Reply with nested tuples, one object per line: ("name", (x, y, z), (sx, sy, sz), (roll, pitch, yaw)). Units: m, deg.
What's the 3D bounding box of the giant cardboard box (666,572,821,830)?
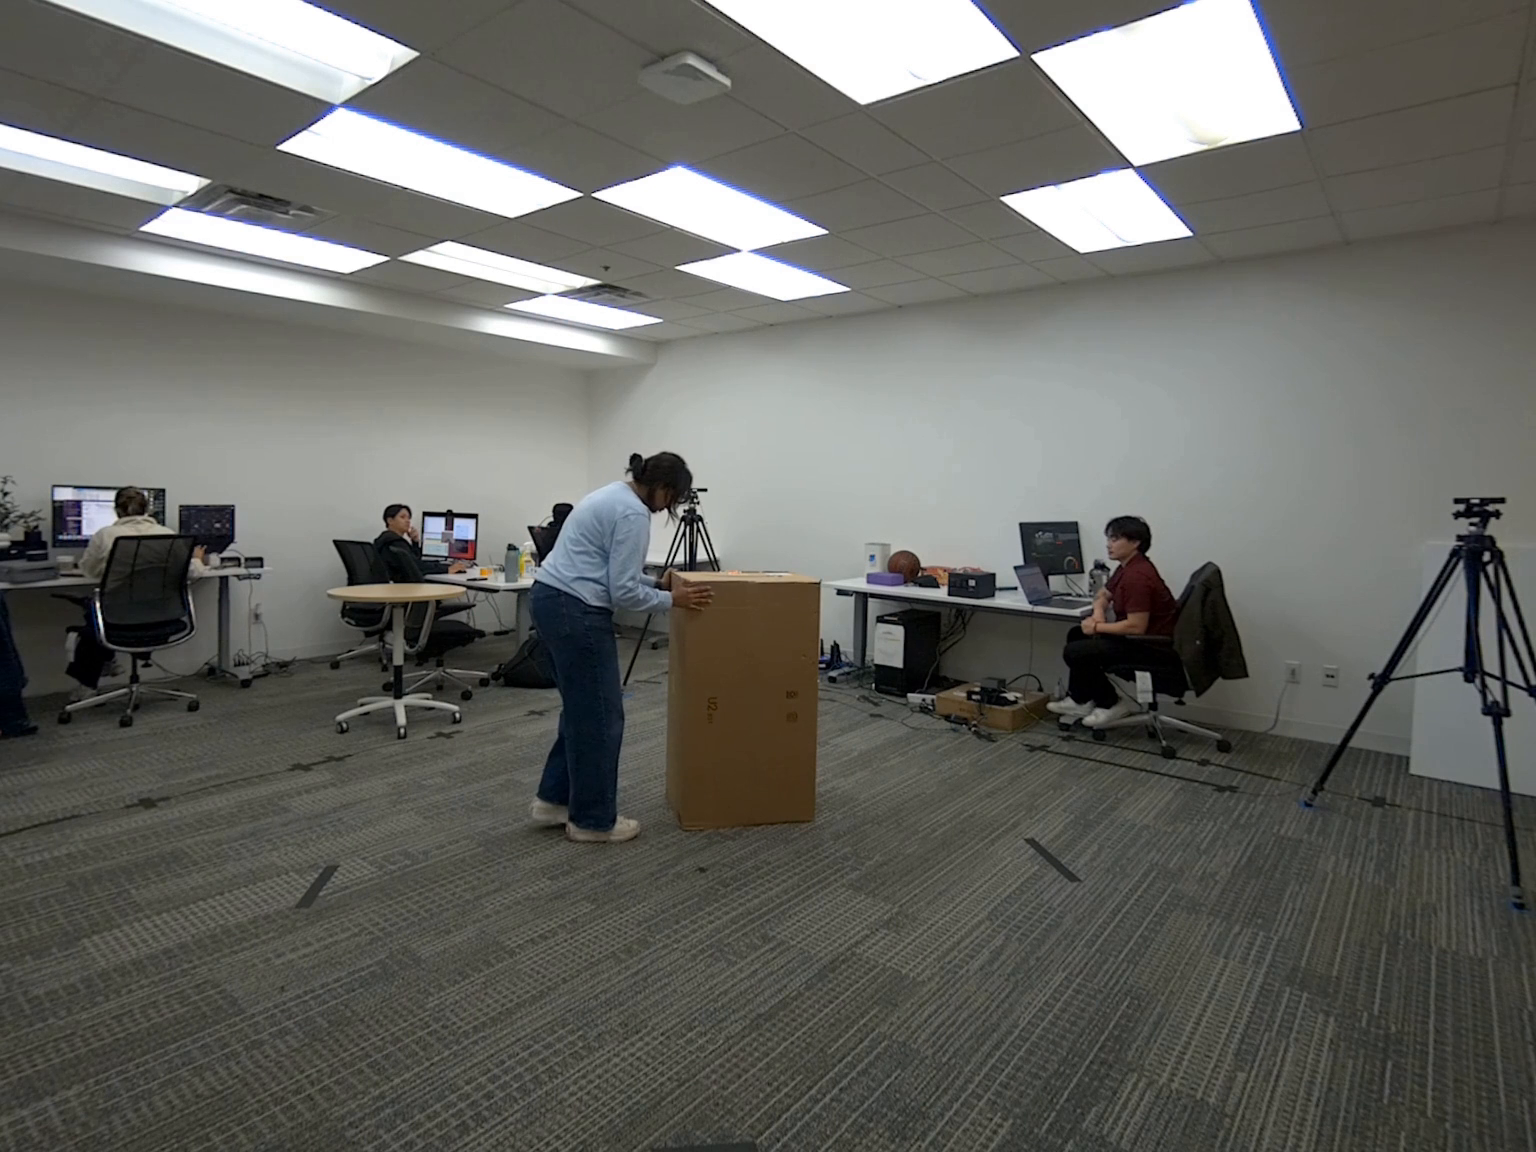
("giant cardboard box", (-0.129, 0.508, 3.703), (0.569, 1.023, 0.434), (0, 3, -14))
